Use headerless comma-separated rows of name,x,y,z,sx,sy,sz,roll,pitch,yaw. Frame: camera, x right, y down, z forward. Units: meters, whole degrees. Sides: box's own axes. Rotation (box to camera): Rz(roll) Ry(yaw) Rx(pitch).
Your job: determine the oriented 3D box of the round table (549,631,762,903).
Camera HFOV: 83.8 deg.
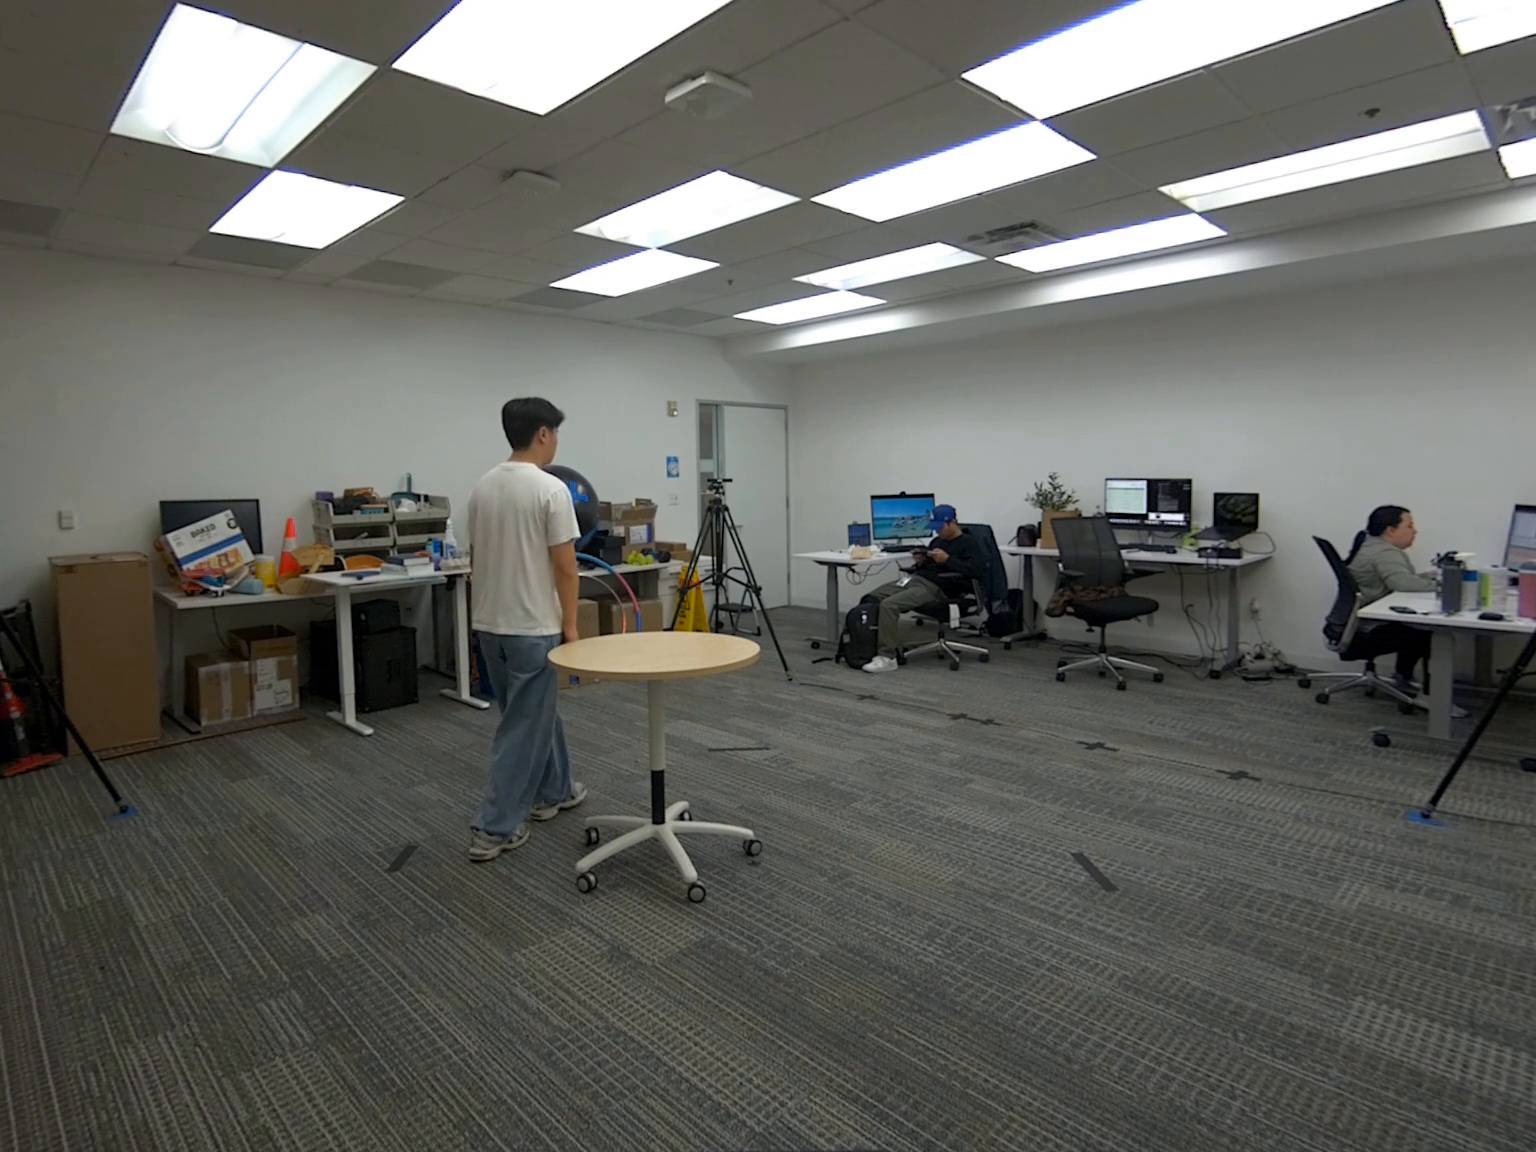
round table,-0.398,0.661,3.126,0.763,0.791,0.768,-1,5,-2
